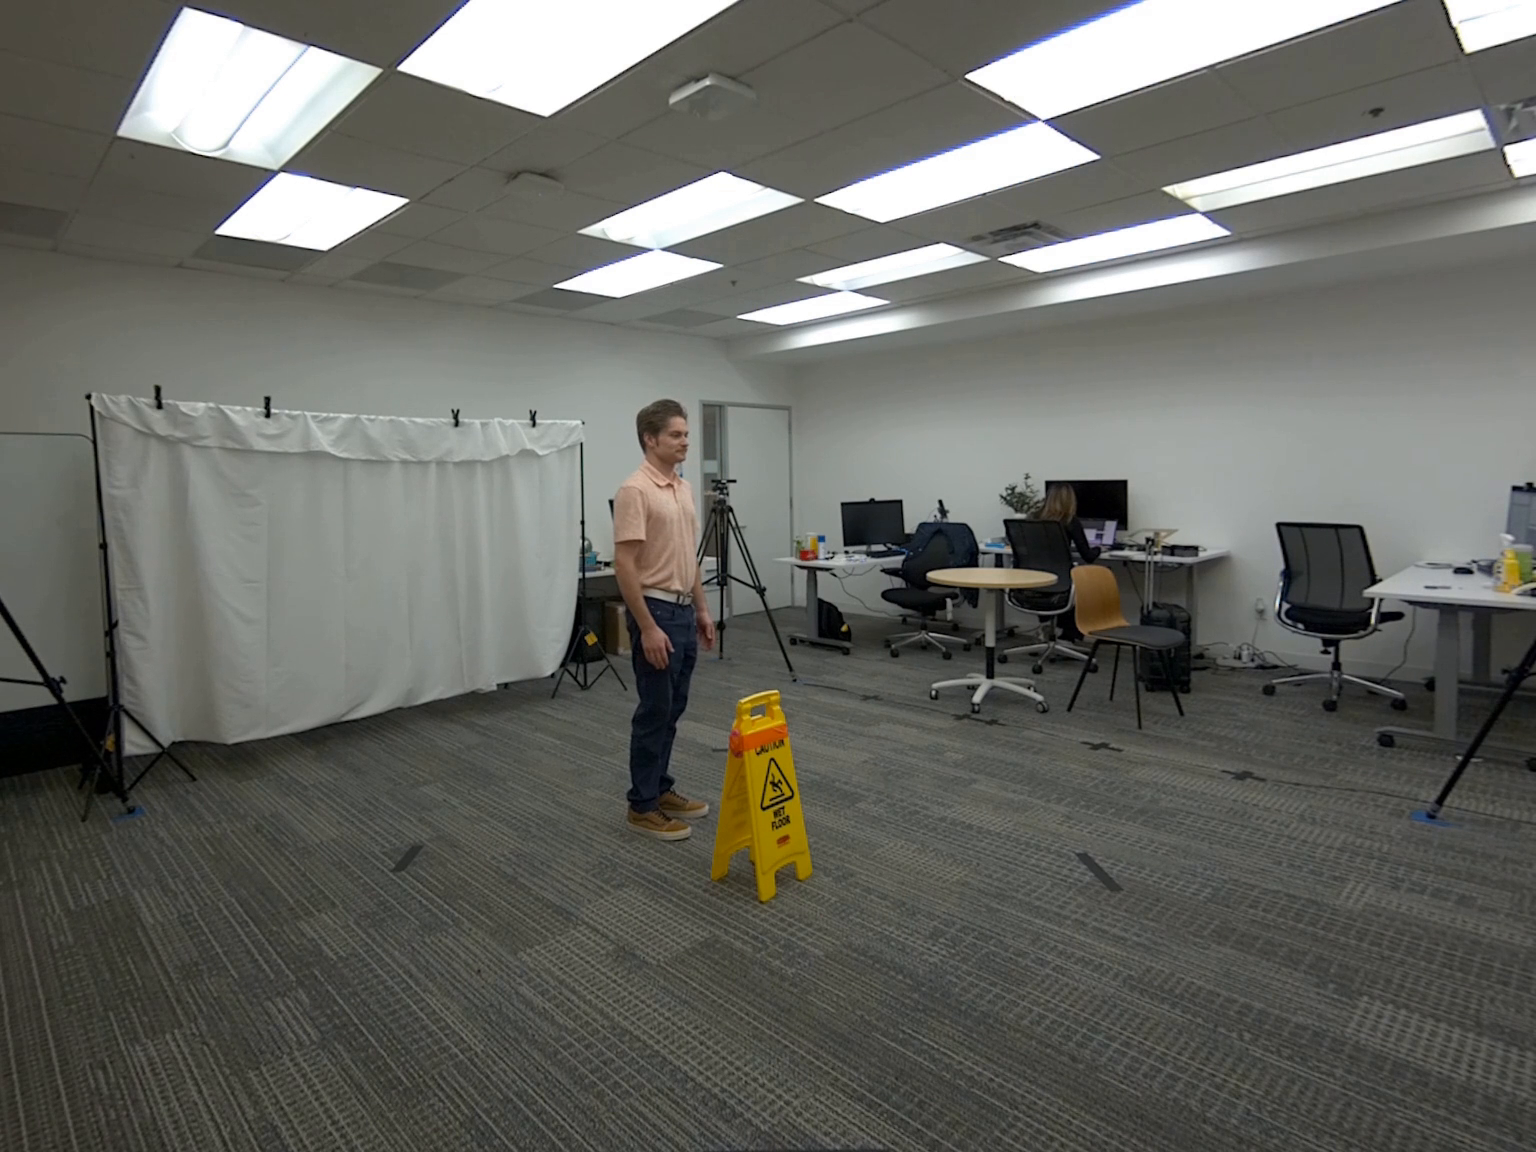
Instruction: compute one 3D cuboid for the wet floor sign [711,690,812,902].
[{"bbox_3d":[-0.028,0.733,2.981,0.298,0.644,0.275,2,5,43],"label":"wet floor sign"}]
